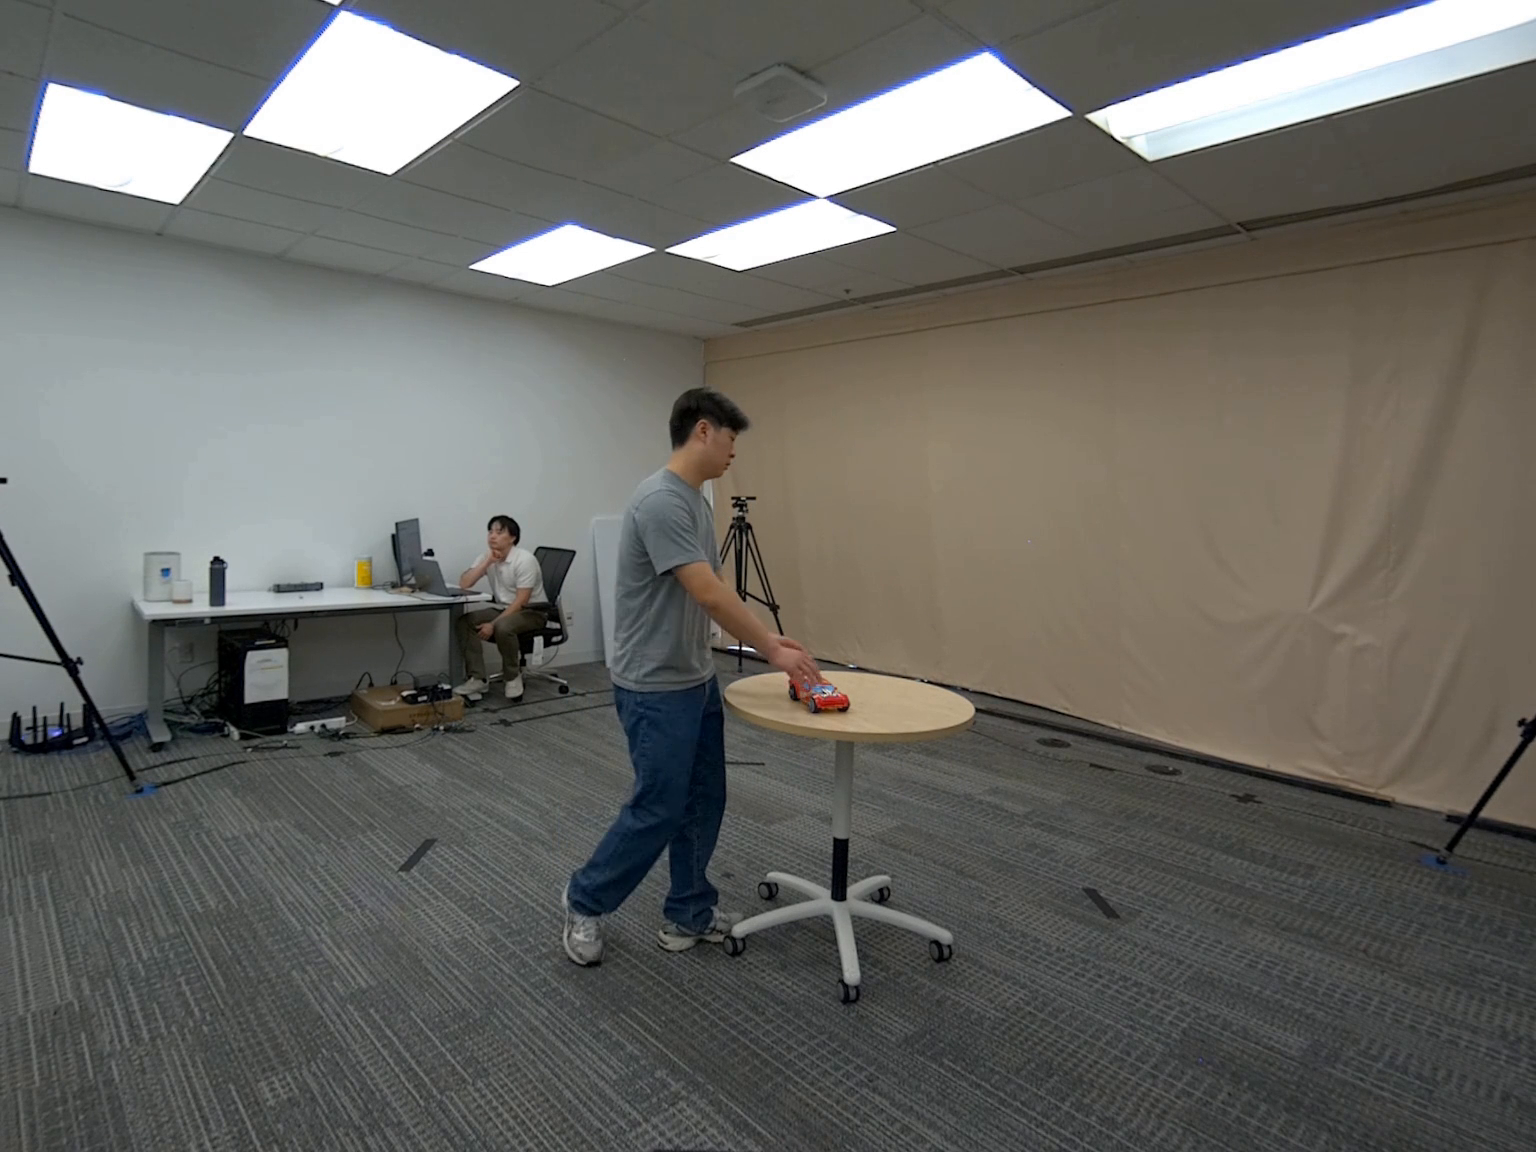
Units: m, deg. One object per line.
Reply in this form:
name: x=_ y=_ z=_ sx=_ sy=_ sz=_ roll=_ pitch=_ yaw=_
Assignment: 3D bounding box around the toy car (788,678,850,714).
toy car: x=0.138 y=0.351 z=2.509 sx=0.128 sy=0.082 sz=0.261 roll=-1 pitch=17 yaw=-20
